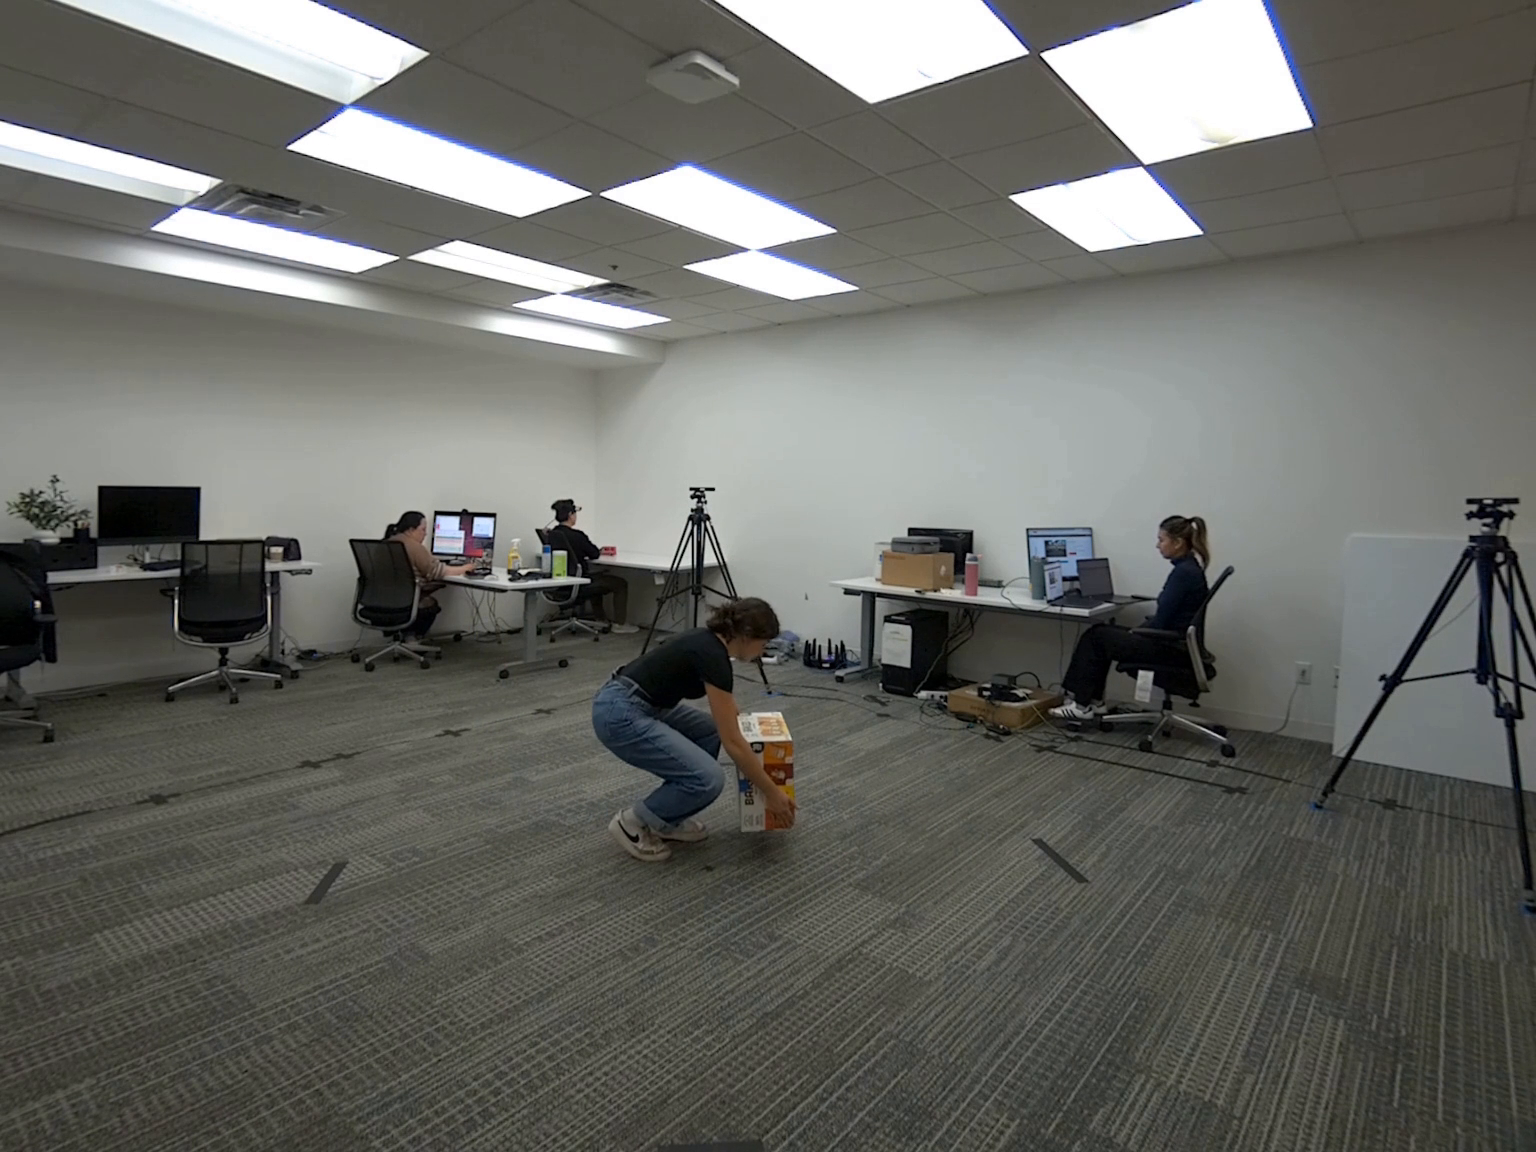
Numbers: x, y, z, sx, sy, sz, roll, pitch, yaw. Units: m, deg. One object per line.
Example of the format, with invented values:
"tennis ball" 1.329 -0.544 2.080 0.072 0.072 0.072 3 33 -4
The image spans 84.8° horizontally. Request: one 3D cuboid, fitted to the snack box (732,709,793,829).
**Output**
"snack box" -0.032 0.751 3.341 0.205 0.339 0.408 -1 5 -4
